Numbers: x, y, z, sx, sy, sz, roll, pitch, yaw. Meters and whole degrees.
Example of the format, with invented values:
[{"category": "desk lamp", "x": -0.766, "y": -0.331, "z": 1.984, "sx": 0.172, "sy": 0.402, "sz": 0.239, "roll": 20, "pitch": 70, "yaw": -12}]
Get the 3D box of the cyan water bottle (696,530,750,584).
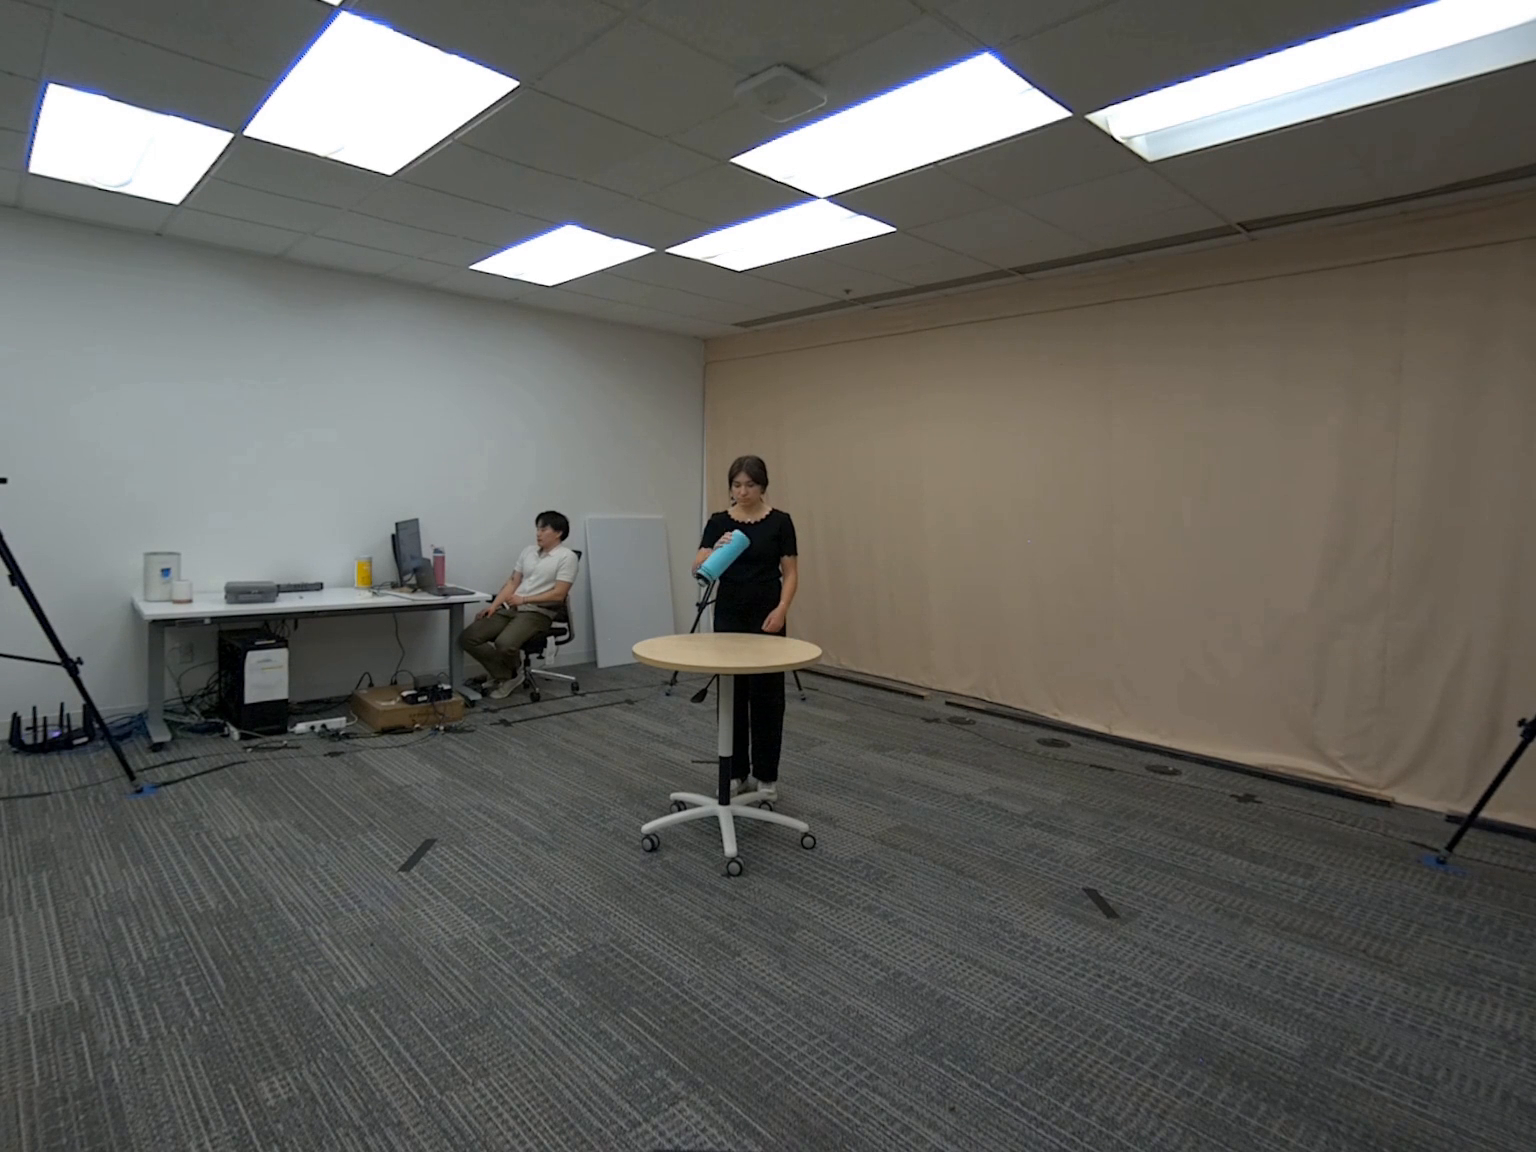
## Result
[{"category": "cyan water bottle", "x": -0.207, "y": -0.067, "z": 3.594, "sx": 0.093, "sy": 0.283, "sz": 0.091, "roll": 40, "pitch": -13, "yaw": 9}]
